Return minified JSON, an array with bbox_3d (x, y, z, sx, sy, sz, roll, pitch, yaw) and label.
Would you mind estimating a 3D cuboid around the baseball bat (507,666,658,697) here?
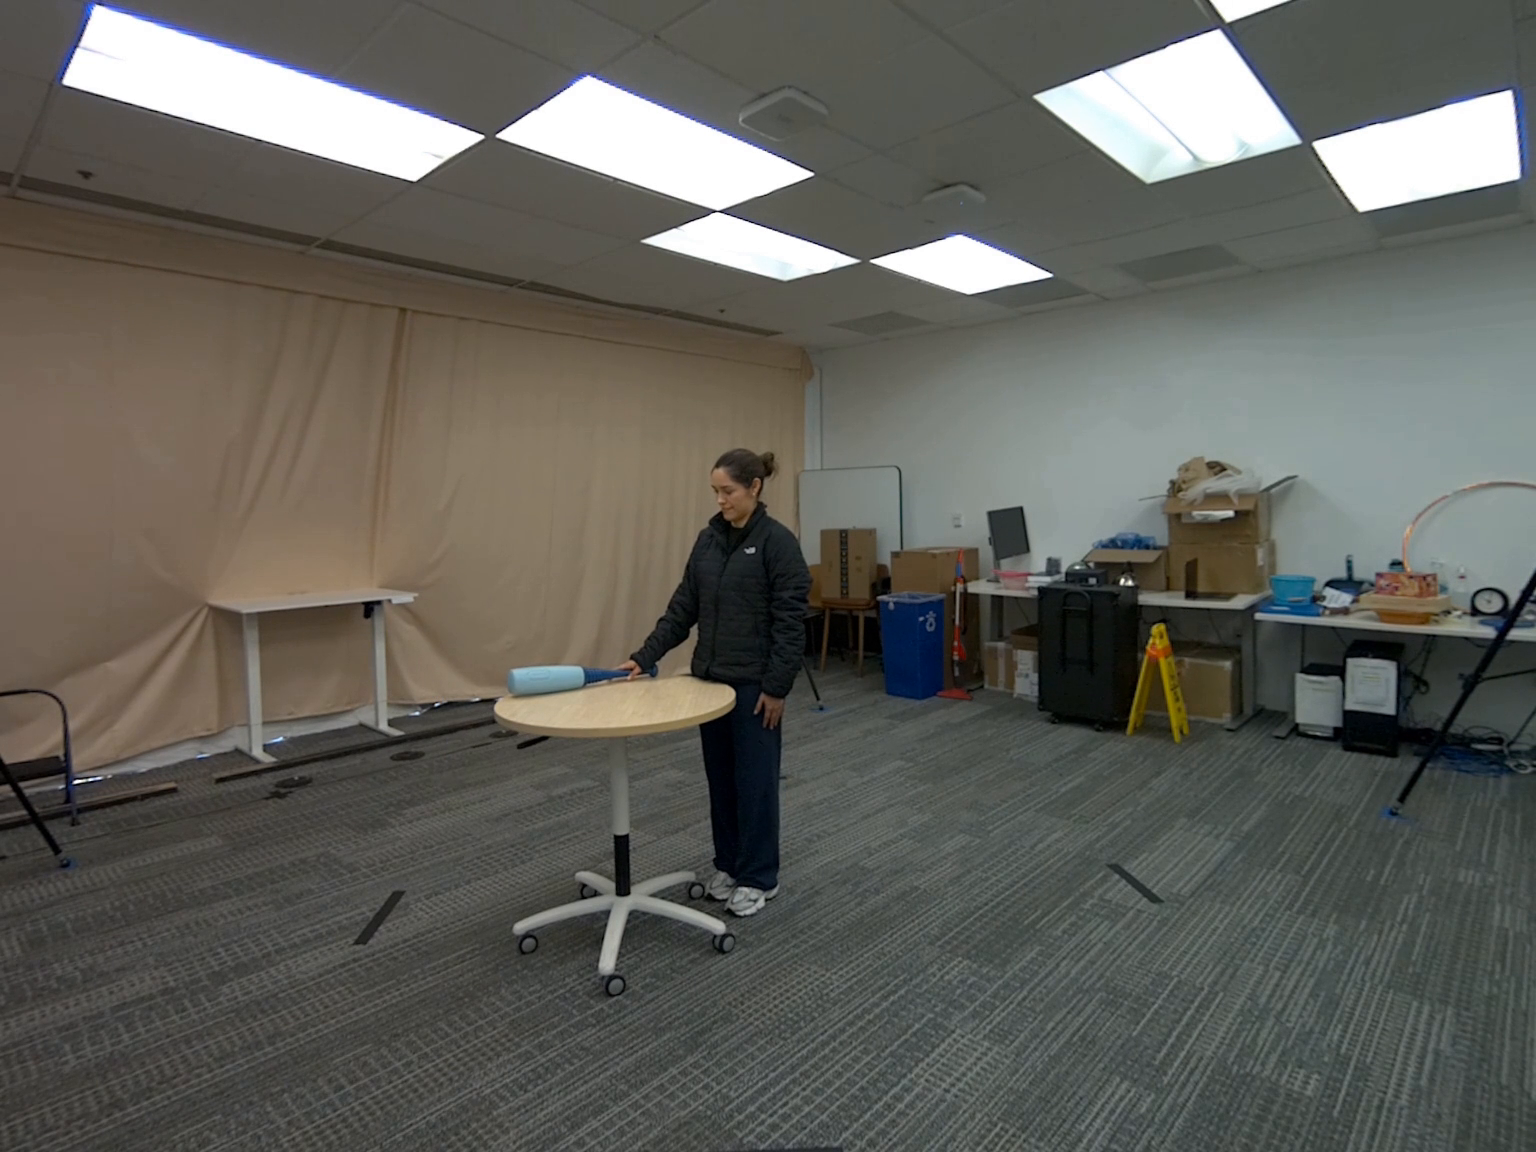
[{"bbox_3d":[-0.605,0.349,2.878,0.527,0.089,0.092,-1,3,-34],"label":"baseball bat"}]
